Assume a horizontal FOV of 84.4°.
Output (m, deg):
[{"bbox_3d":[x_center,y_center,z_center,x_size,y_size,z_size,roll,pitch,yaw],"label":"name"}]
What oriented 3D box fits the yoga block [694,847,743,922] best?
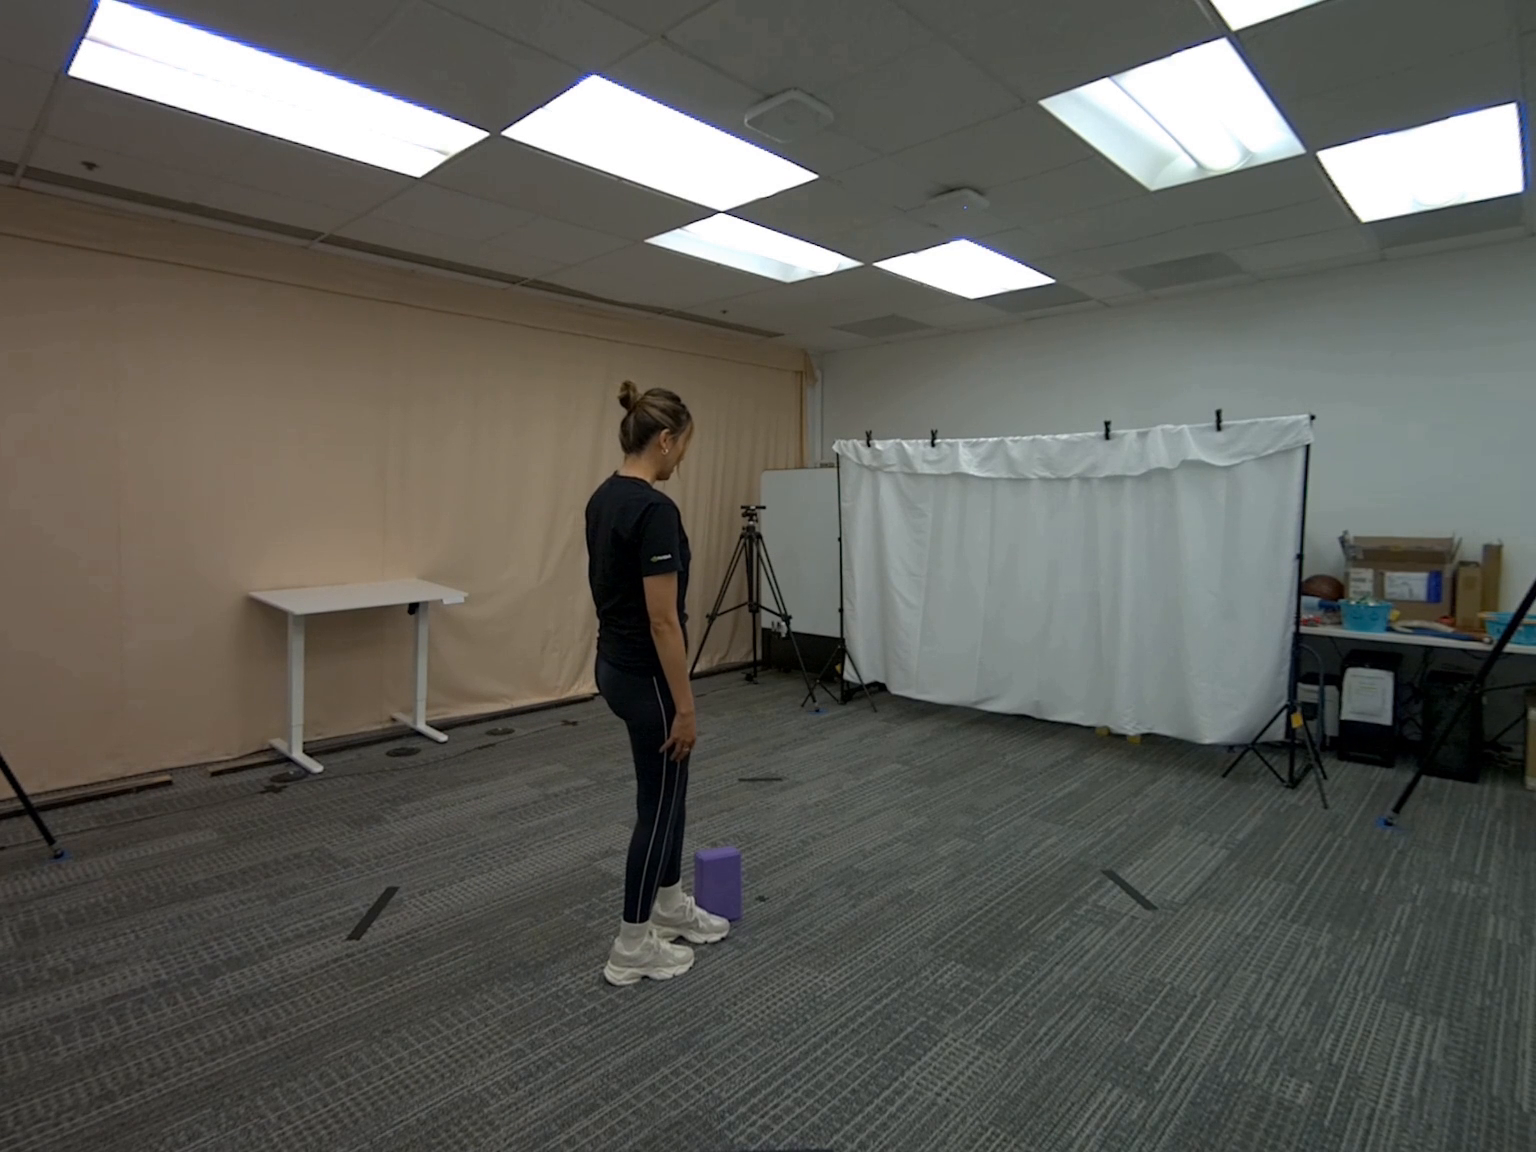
[{"bbox_3d":[-0.168,1.040,2.833,0.146,0.229,0.078,-1,3,-21],"label":"yoga block"}]
